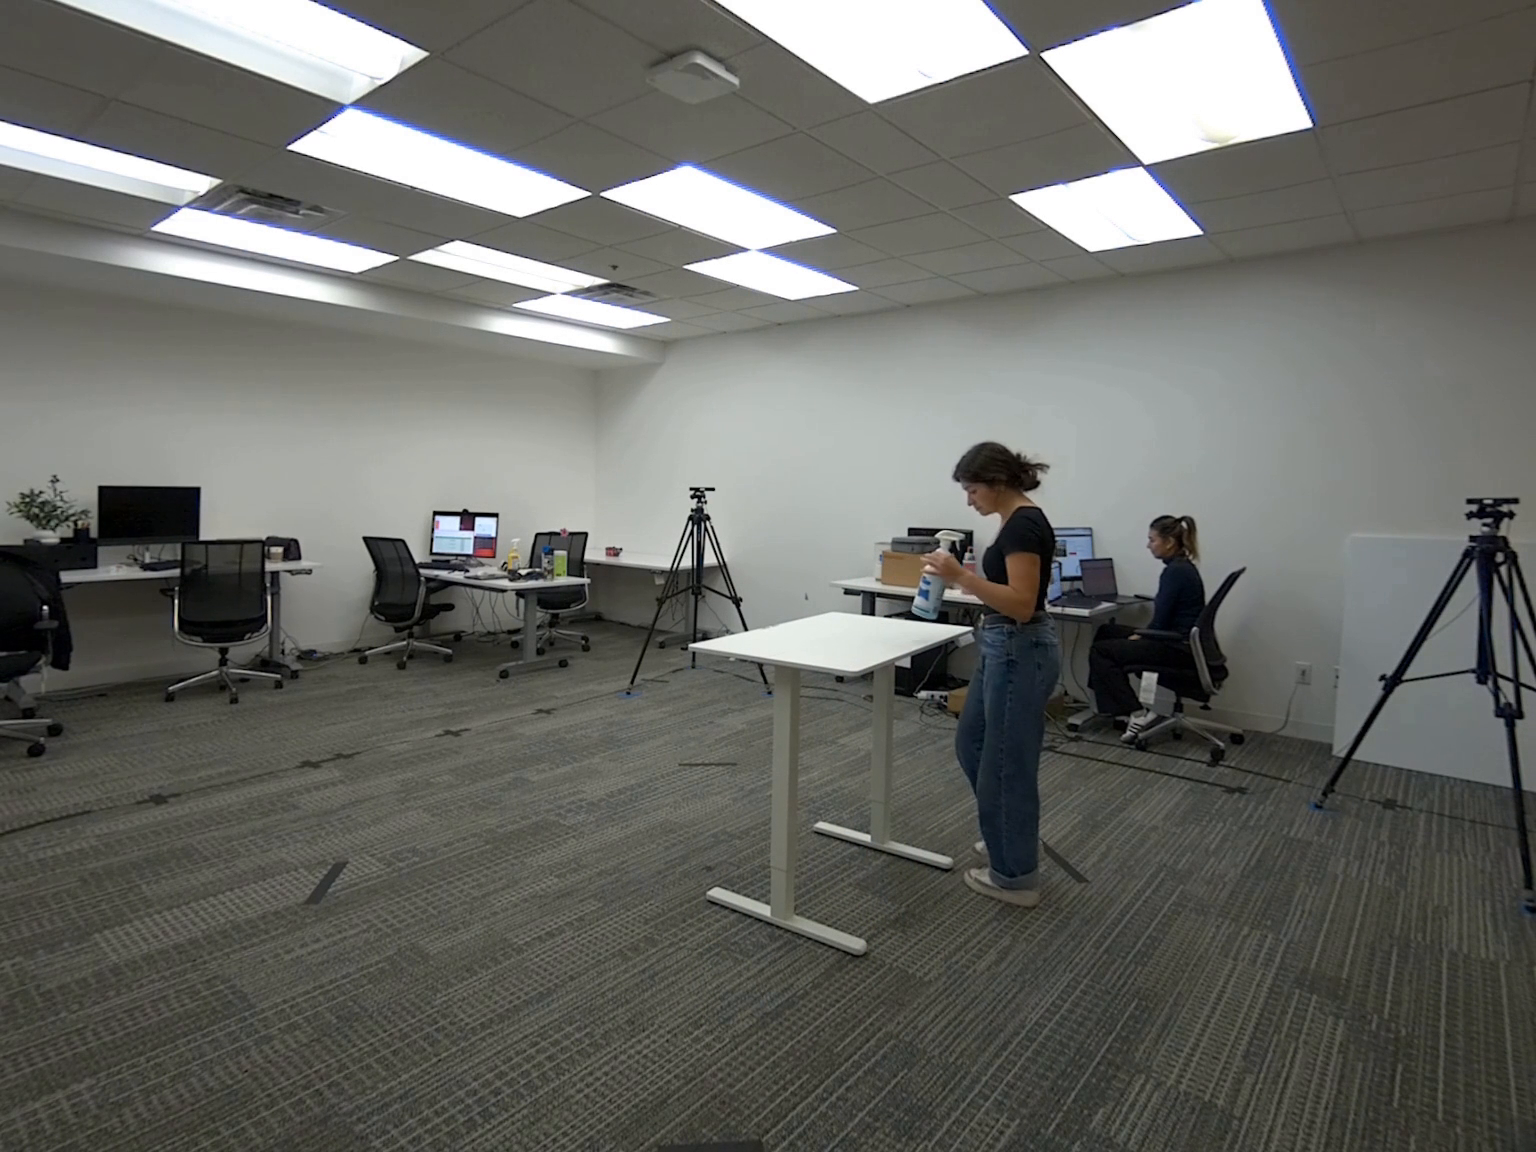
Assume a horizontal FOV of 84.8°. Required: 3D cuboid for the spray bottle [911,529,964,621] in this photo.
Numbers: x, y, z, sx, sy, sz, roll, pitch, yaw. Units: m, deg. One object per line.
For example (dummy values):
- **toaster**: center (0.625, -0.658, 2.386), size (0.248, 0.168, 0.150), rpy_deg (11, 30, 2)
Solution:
- **spray bottle**: center (0.561, -0.008, 2.830), size (0.092, 0.295, 0.085), rpy_deg (19, 11, 21)
